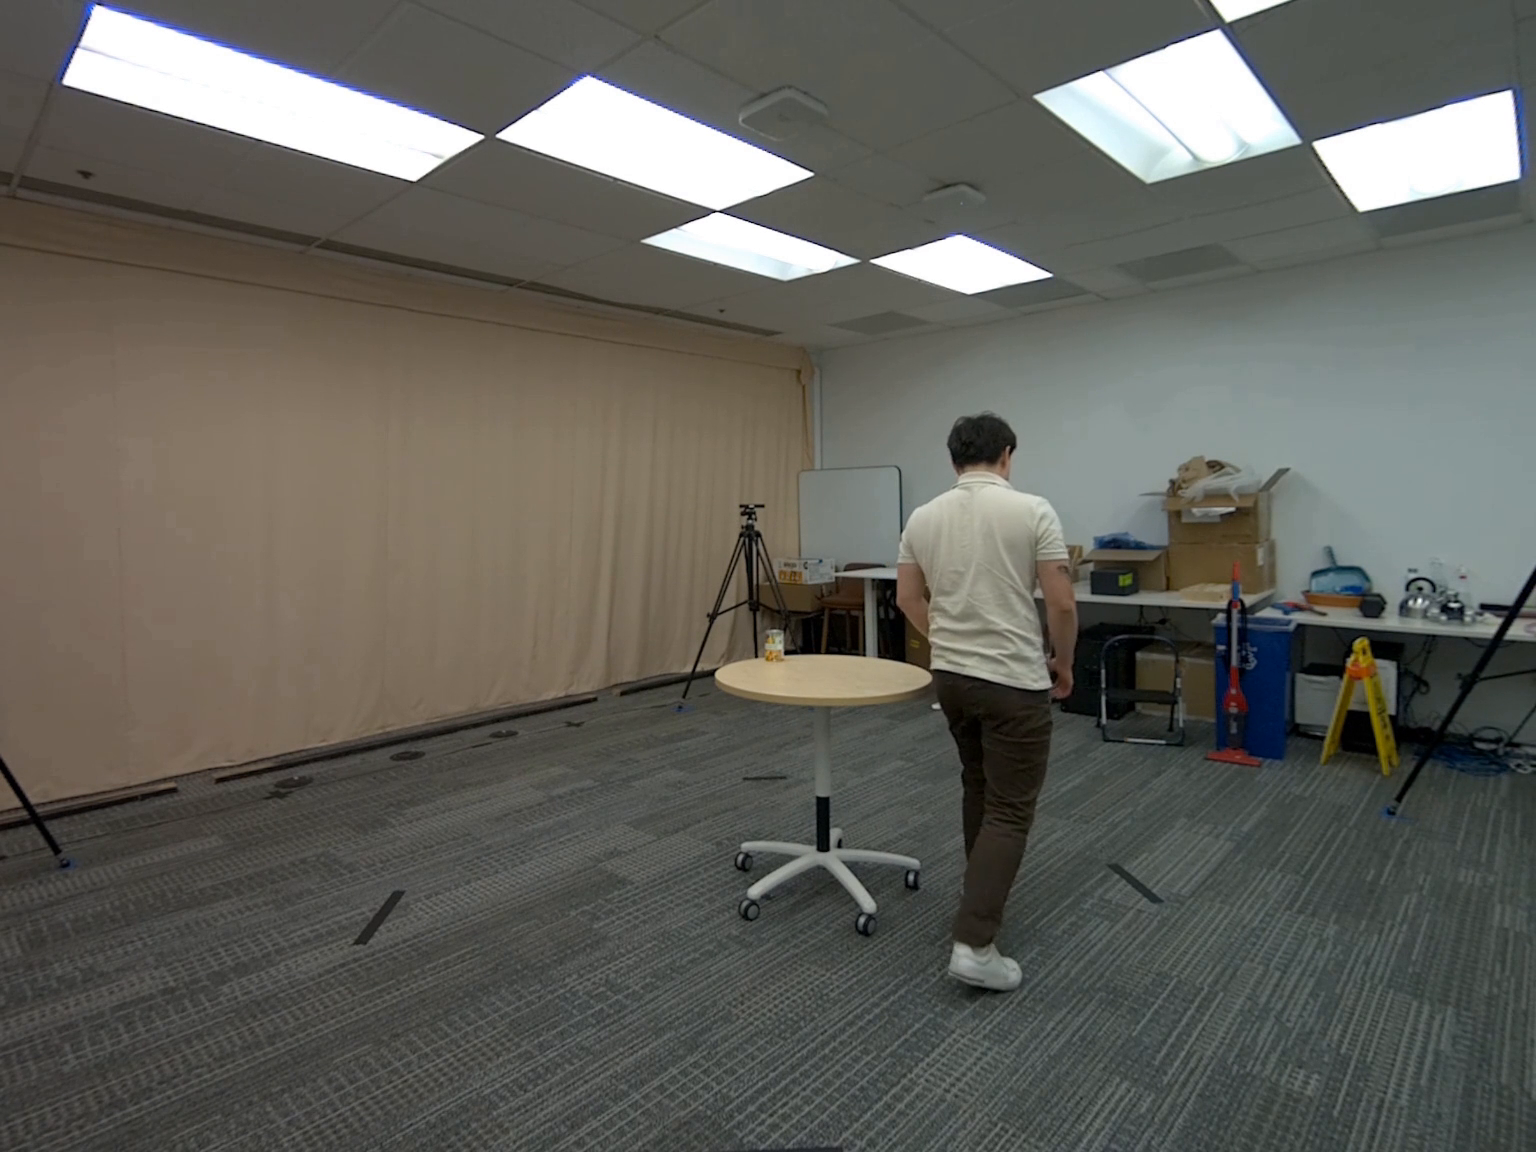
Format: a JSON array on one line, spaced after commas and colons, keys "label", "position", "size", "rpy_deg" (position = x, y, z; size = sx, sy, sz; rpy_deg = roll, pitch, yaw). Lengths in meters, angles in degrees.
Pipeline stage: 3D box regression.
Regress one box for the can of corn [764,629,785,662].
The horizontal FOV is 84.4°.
[{"label": "can of corn", "position": [0.025, 0.273, 3.278], "size": [0.074, 0.111, 0.074], "rpy_deg": [-2, 2, -2]}]
